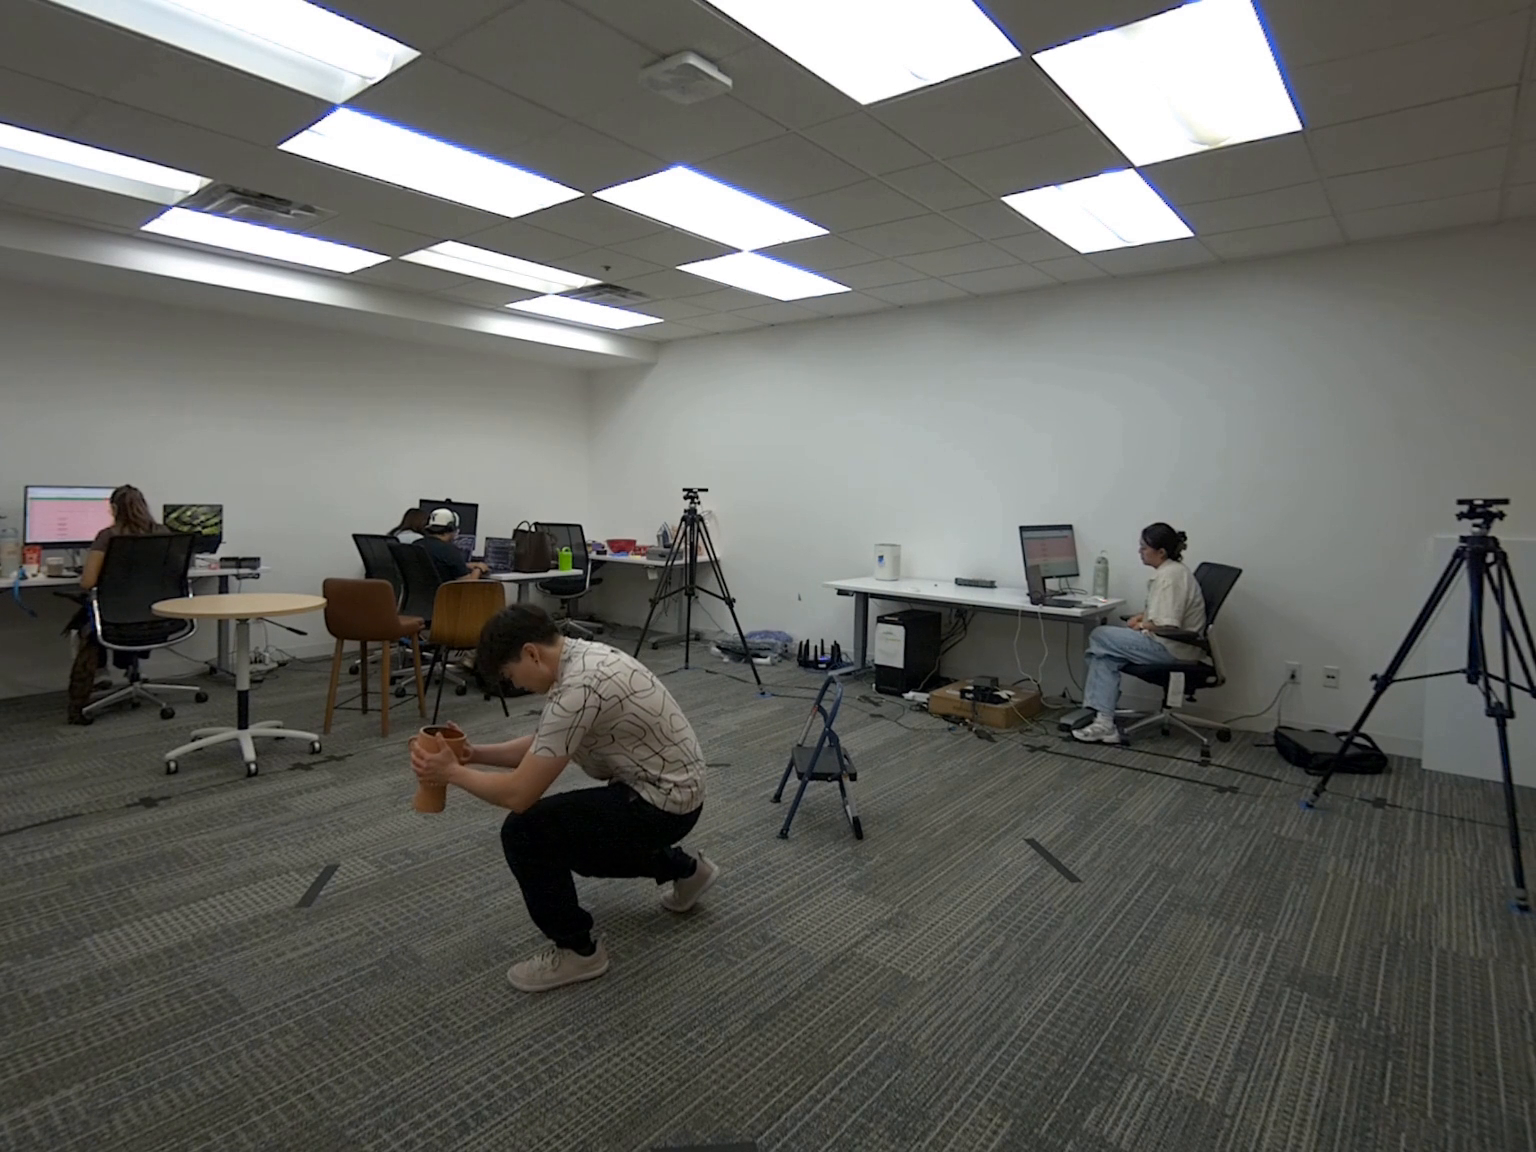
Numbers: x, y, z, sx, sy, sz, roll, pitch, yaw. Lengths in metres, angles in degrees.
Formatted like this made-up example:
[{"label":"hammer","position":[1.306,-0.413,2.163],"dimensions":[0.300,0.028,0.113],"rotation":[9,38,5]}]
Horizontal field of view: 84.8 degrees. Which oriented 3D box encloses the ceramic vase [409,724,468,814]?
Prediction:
[{"label":"ceramic vase","position":[-0.969,0.563,2.466],"dimensions":[0.164,0.219,0.130],"rotation":[11,2,31]}]
